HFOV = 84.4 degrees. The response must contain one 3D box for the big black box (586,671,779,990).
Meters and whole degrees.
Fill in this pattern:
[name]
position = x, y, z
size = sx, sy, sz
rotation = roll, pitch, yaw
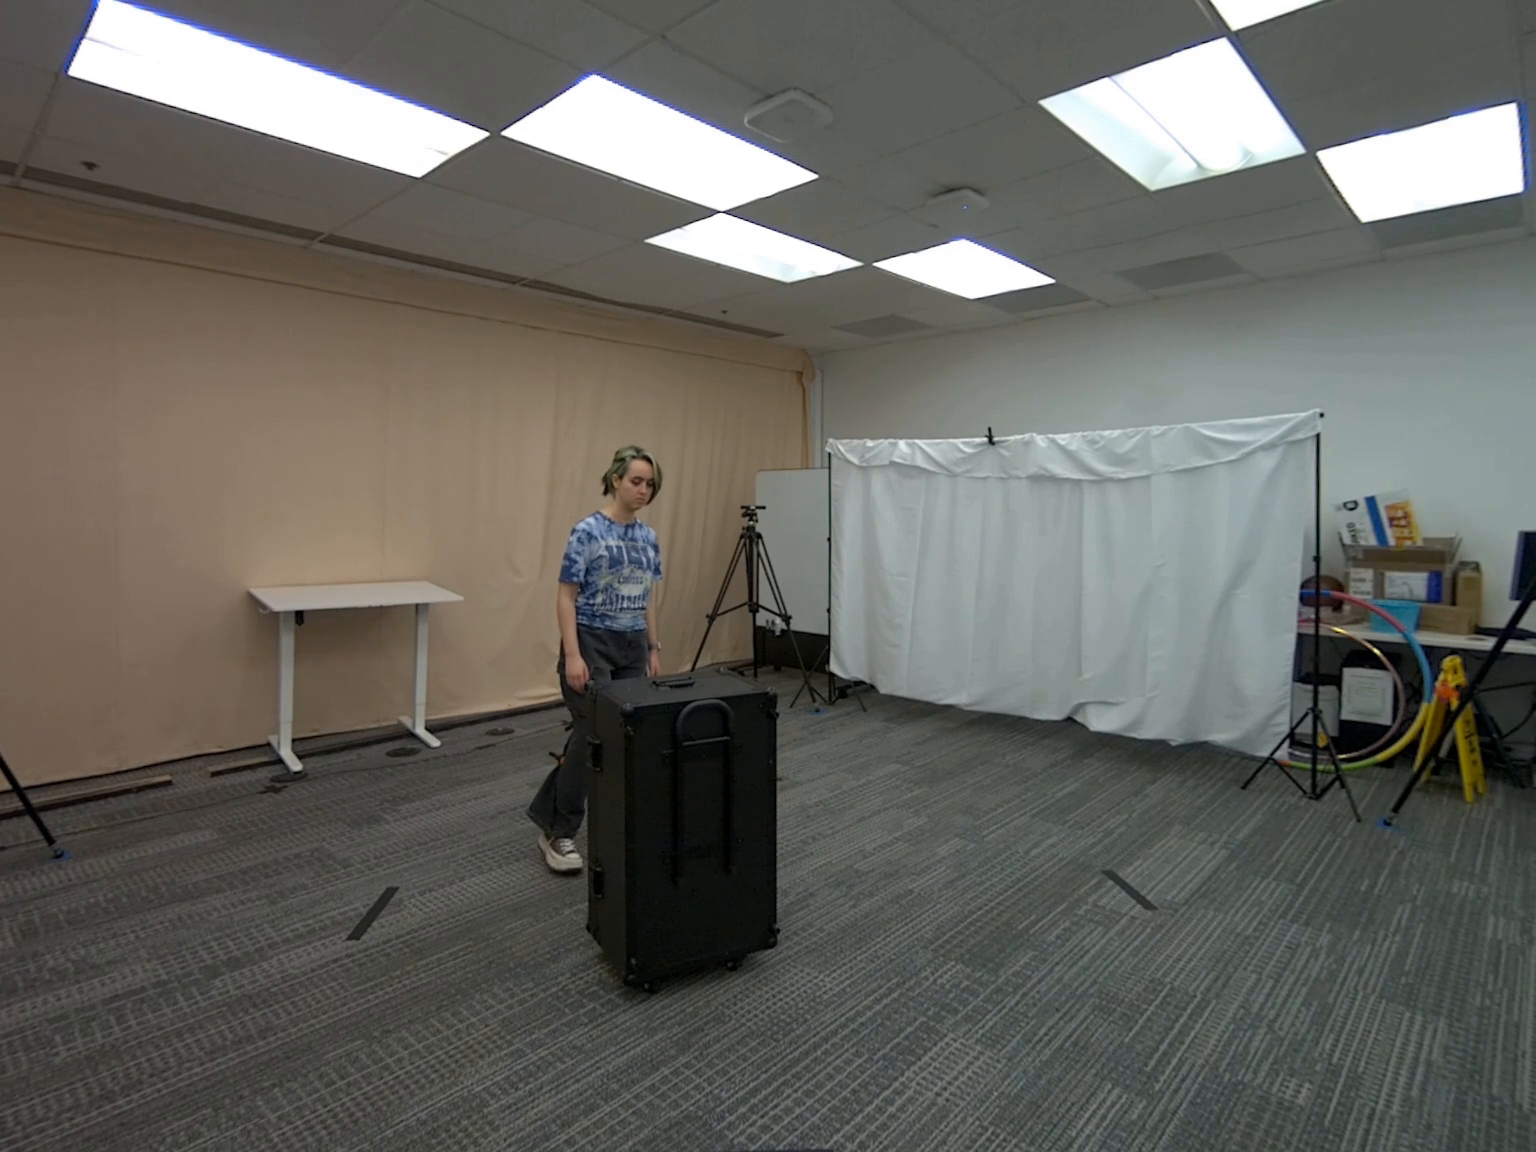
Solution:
[big black box]
position = -0.255, 0.759, 2.550
size = 0.508, 0.859, 0.407
rotation = -2, 5, -28
